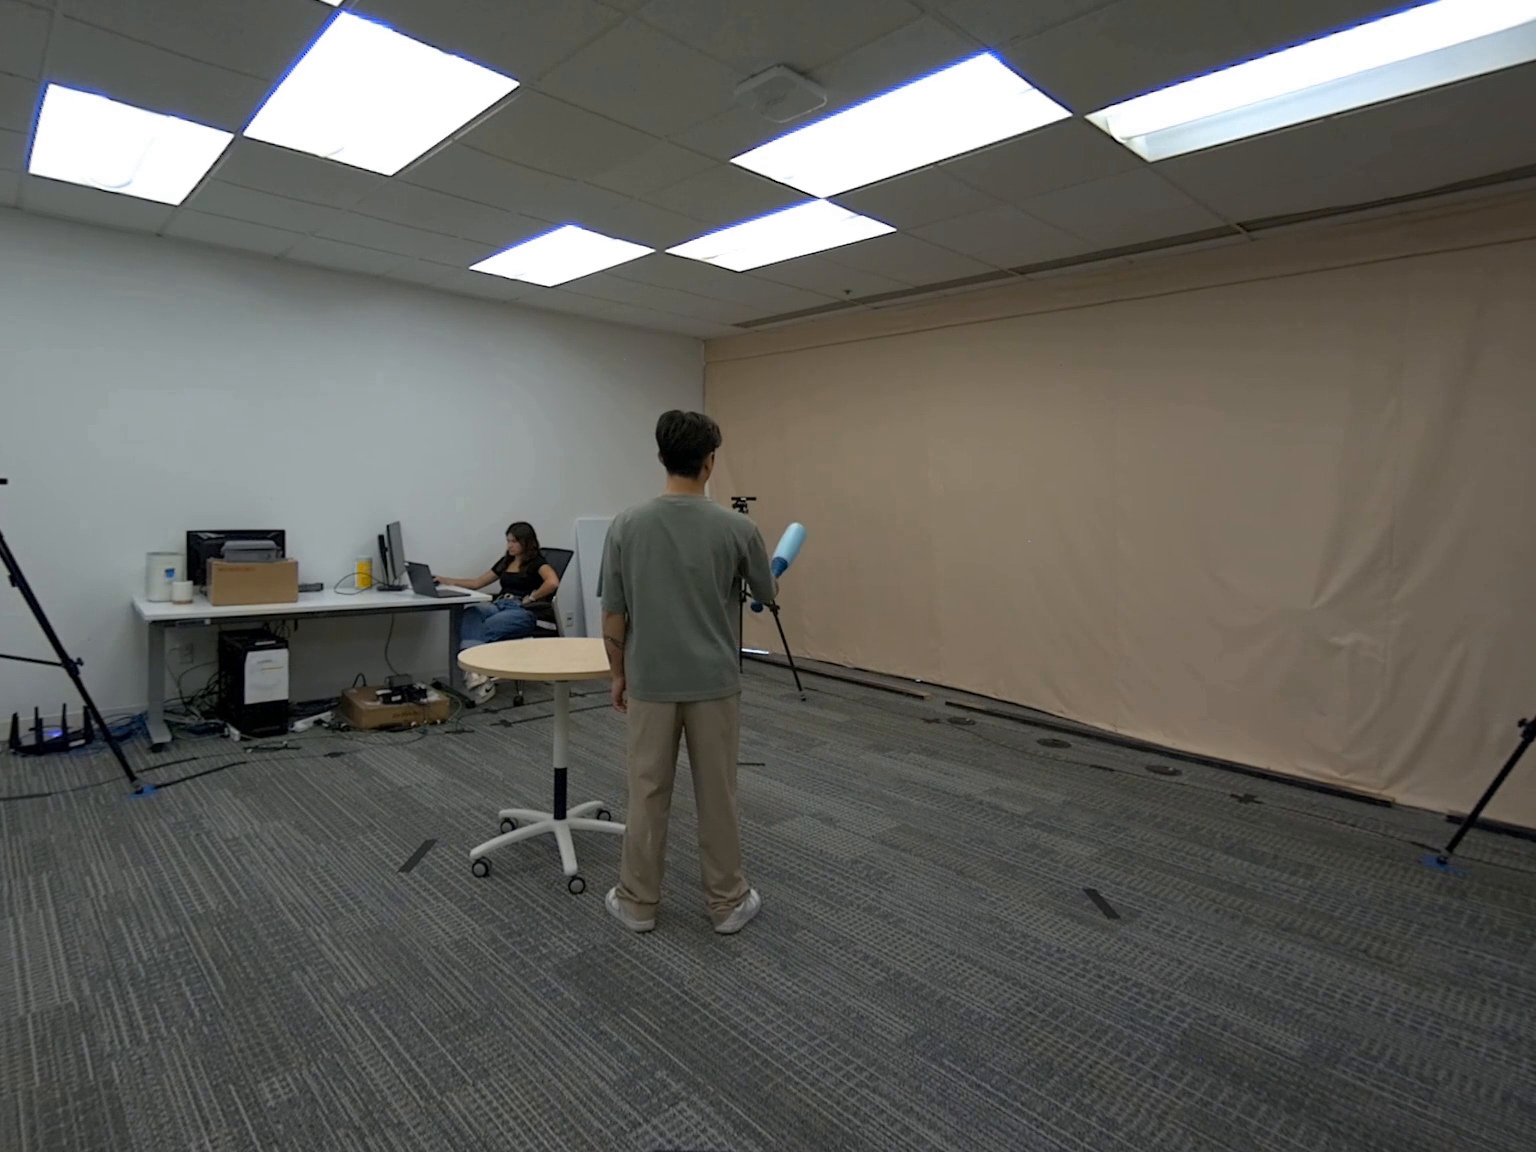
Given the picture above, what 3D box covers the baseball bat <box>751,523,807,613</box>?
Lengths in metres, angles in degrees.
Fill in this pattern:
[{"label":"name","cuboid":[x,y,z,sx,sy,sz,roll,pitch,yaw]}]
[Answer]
[{"label":"baseball bat","cuboid":[0.023,-0.022,3.327,0.090,0.087,0.546,2,36,22]}]
